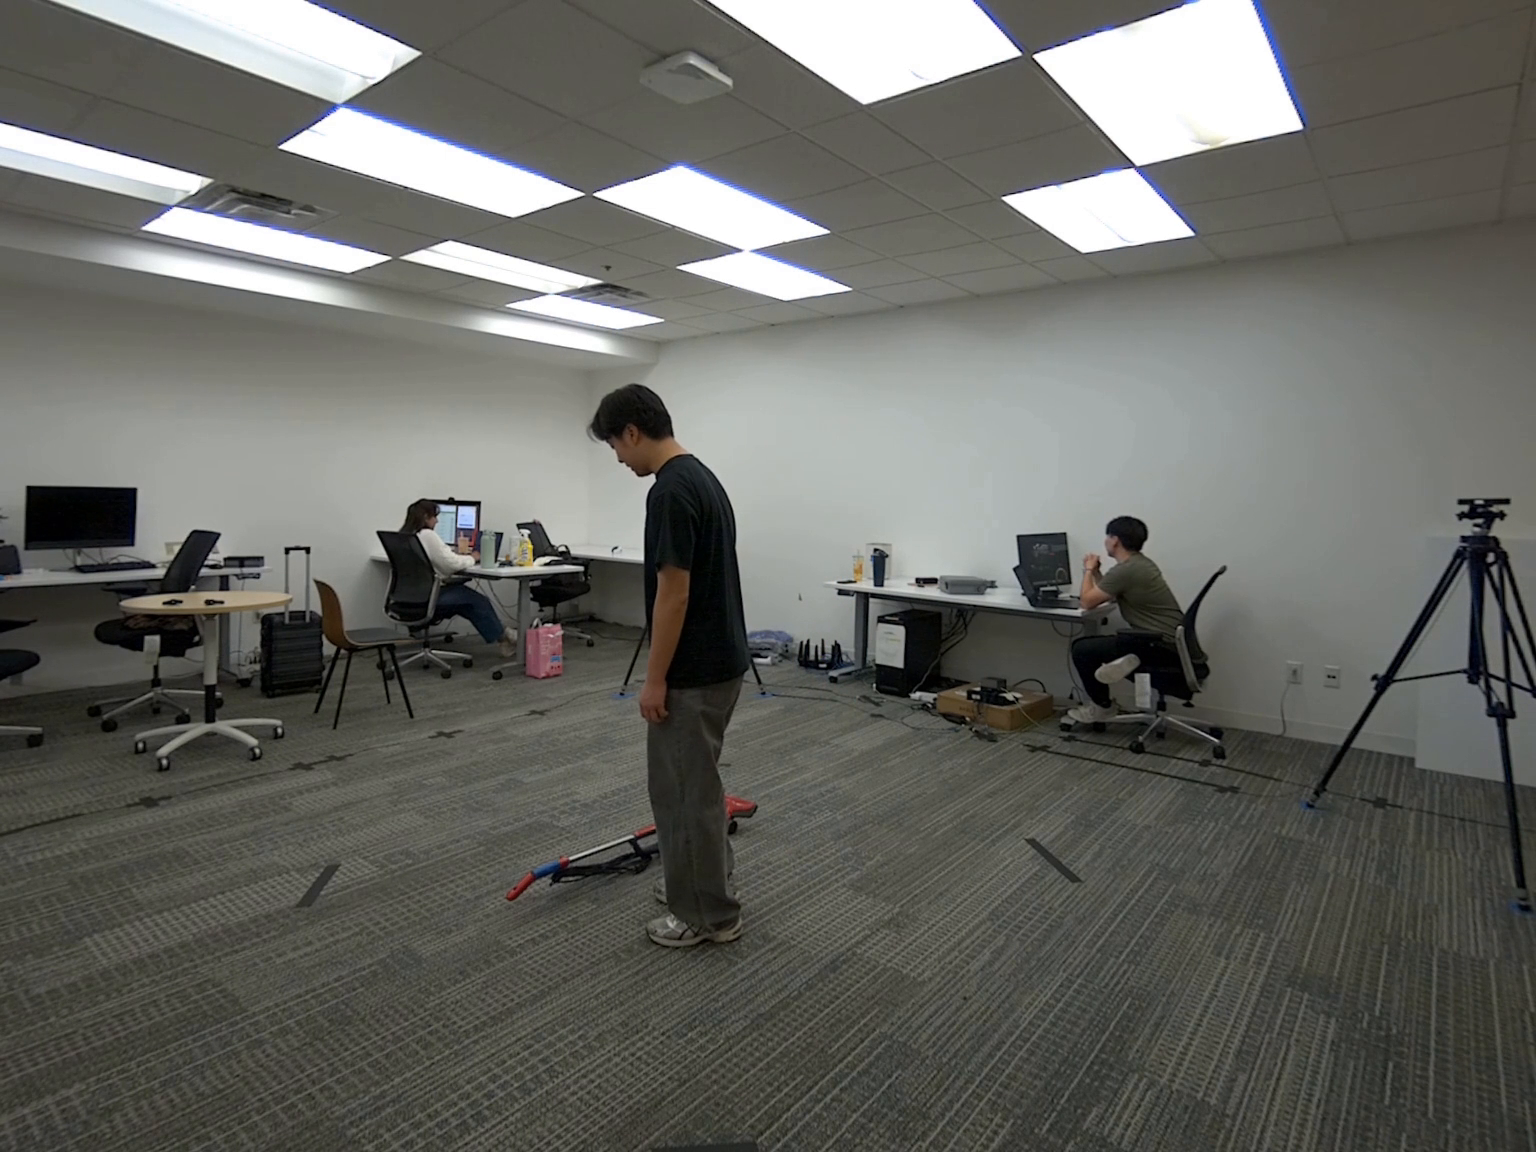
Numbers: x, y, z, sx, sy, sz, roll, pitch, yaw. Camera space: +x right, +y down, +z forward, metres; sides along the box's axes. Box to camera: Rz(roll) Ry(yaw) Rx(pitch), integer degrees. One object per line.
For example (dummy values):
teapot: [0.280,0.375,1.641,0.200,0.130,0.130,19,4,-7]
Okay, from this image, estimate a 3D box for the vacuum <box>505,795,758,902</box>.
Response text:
vacuum: [-0.498,1.005,3.120,0.261,0.143,1.018,5,7,41]
